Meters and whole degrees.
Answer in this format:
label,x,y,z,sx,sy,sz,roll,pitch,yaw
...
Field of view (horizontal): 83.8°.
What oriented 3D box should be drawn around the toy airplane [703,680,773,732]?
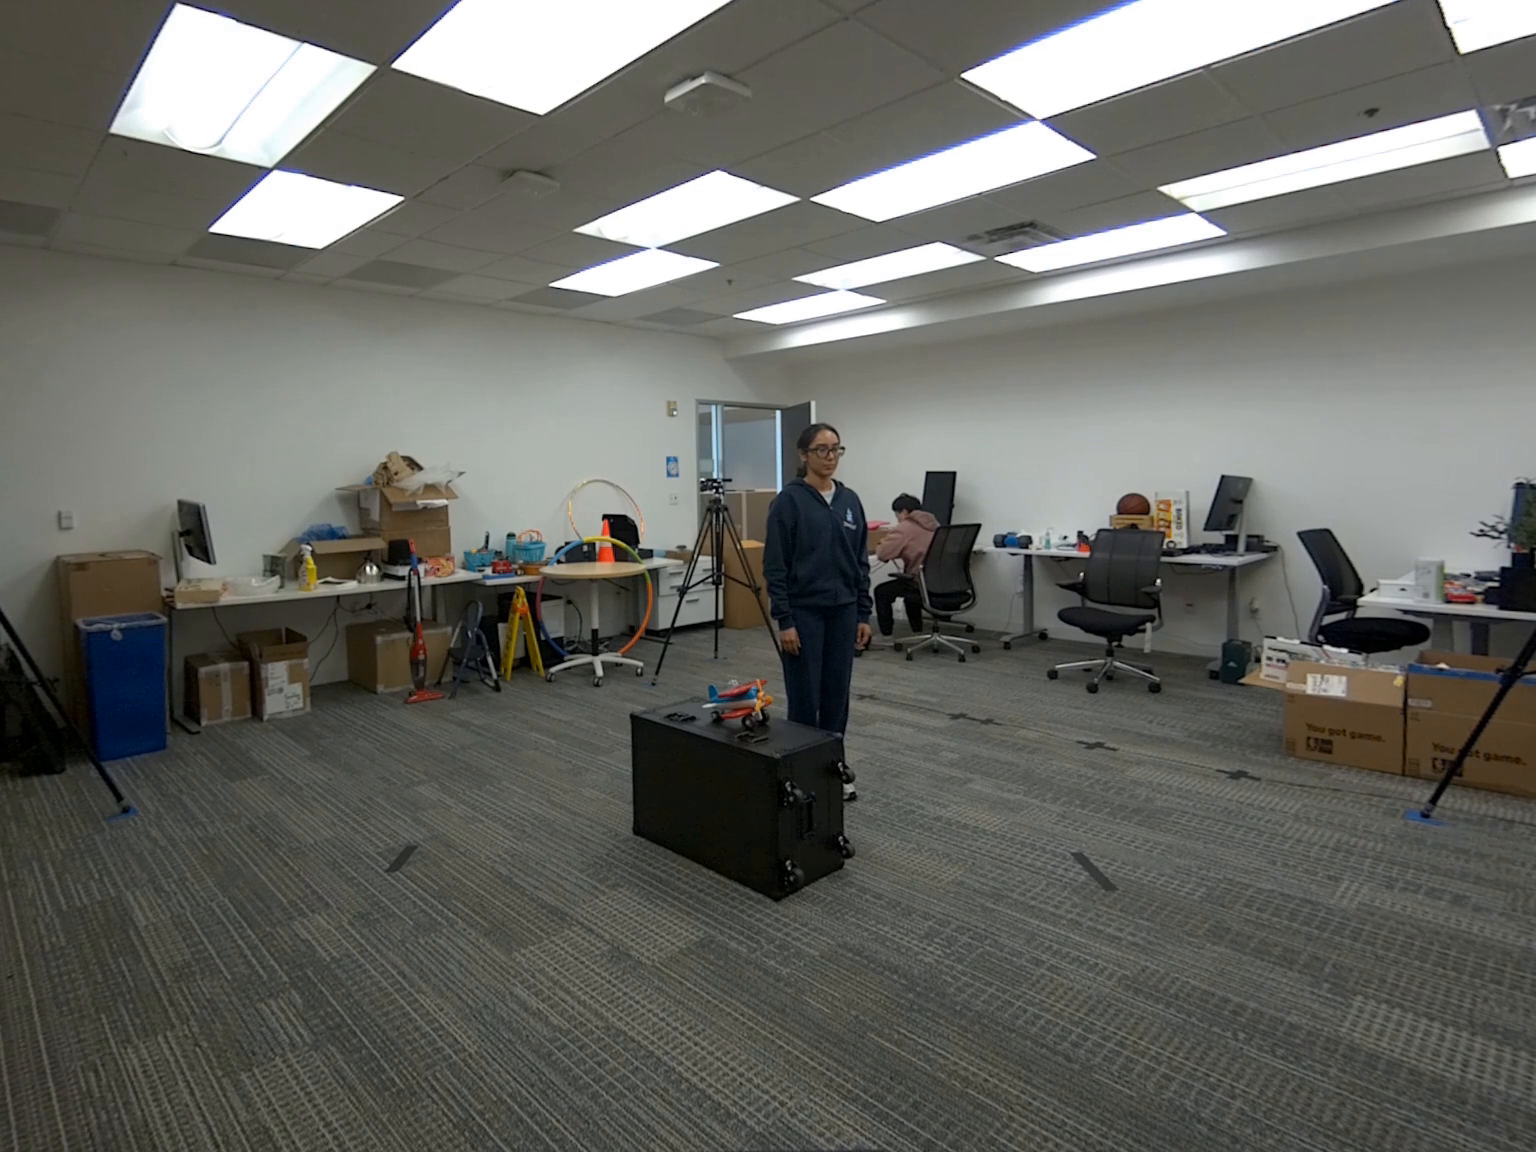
label,x,y,z,sx,sy,sz,roll,pitch,yaw
toy airplane,-0.125,0.478,3.178,0.262,0.155,0.250,0,7,8
